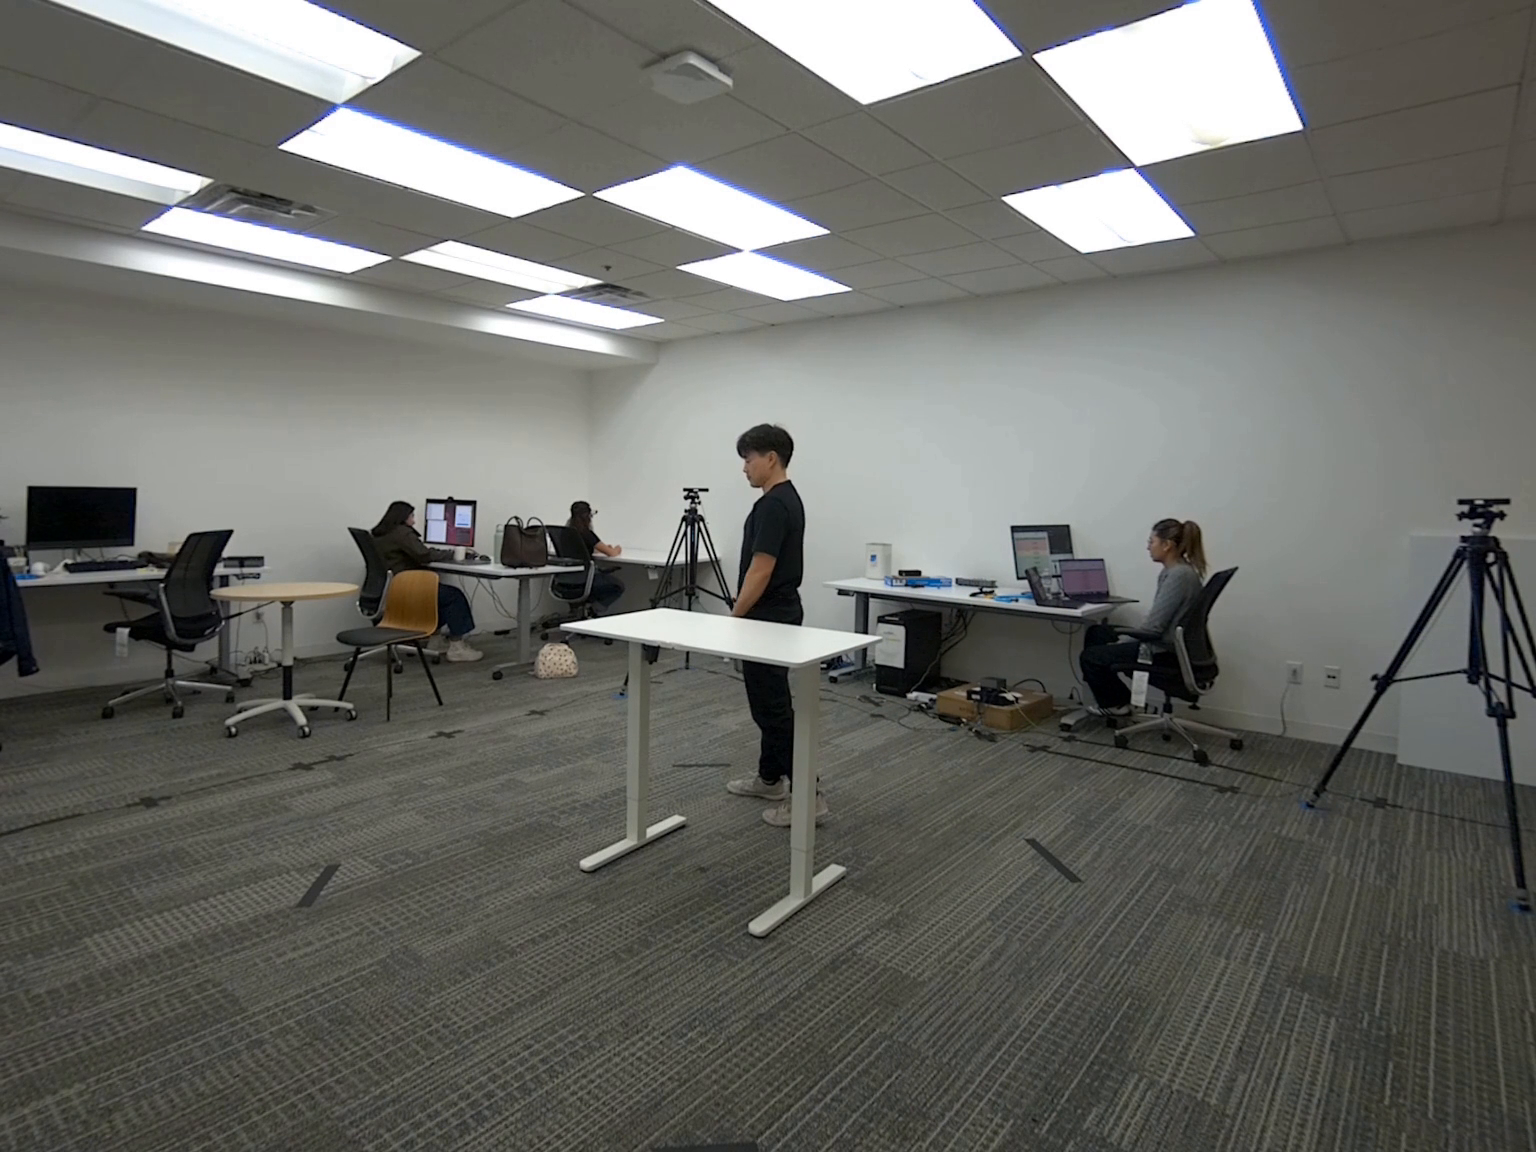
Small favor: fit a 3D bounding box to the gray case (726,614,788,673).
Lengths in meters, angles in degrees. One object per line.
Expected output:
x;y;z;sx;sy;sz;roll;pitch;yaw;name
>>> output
-0.053;0.302;4.015;0.250;0.260;0.107;-7;4;-35;gray case
